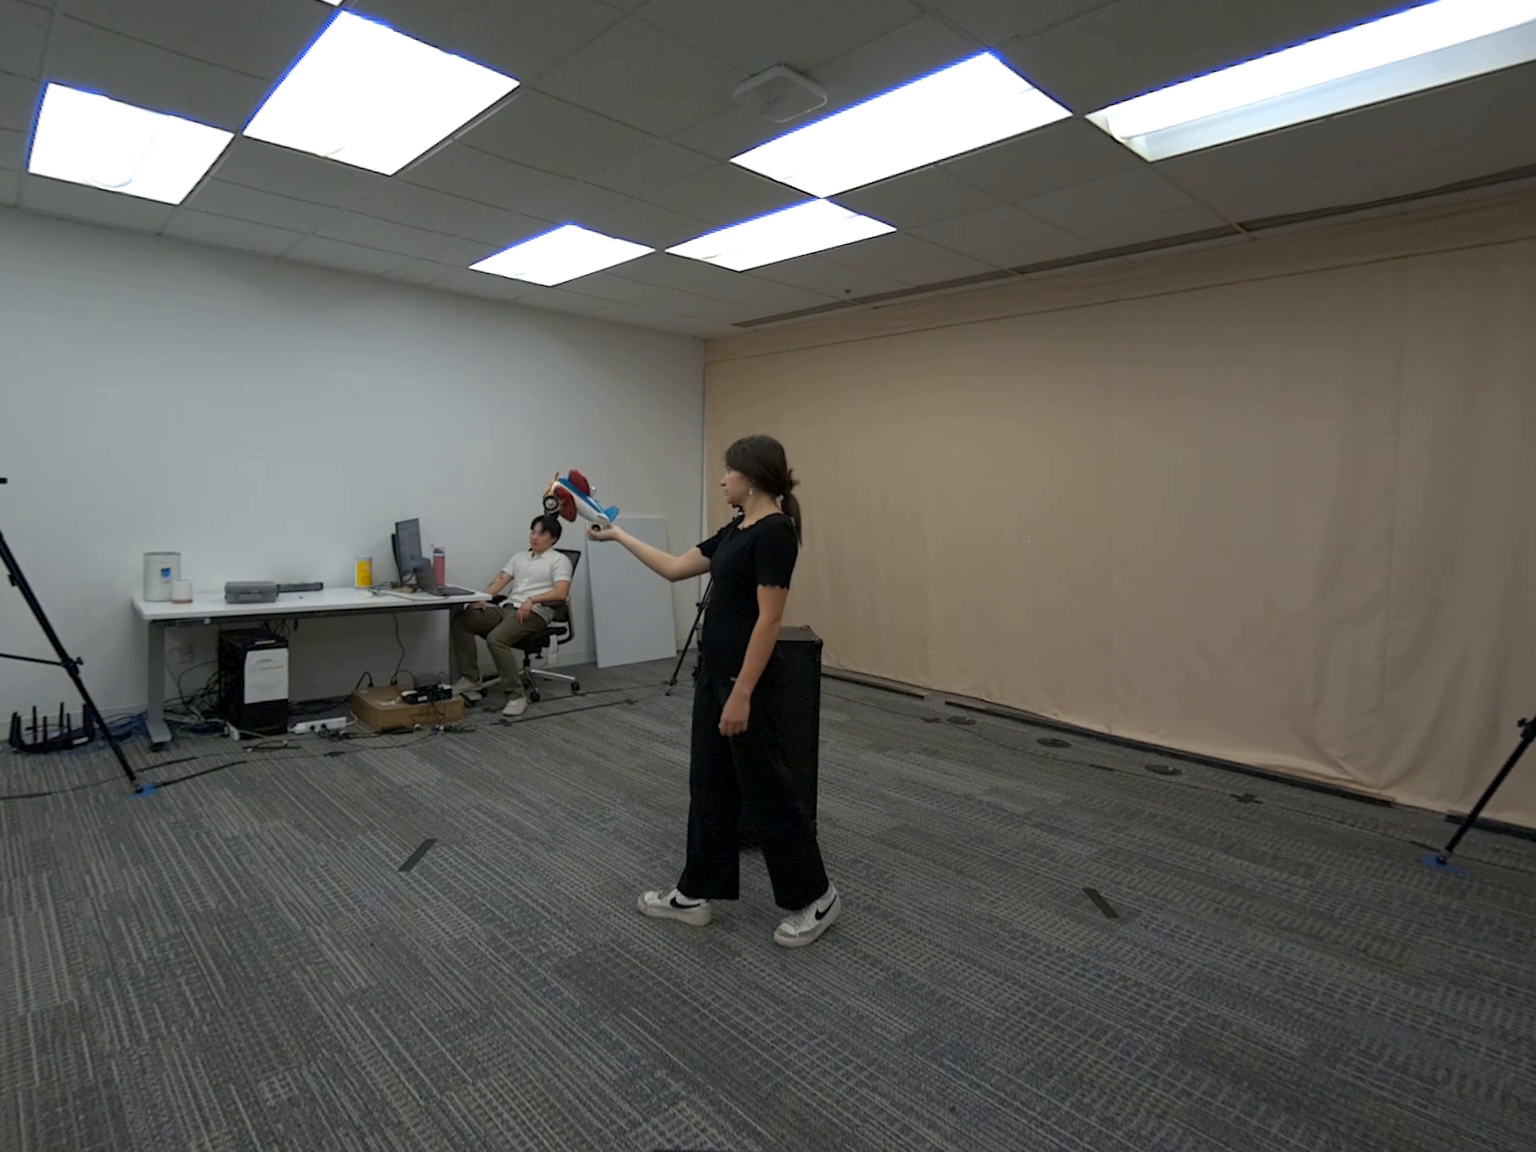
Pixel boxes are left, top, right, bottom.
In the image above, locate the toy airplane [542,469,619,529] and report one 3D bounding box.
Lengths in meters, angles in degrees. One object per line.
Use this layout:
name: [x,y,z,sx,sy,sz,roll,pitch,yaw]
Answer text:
toy airplane: [-0.672,-0.242,2.979,0.253,0.157,0.255,34,-23,-27]
